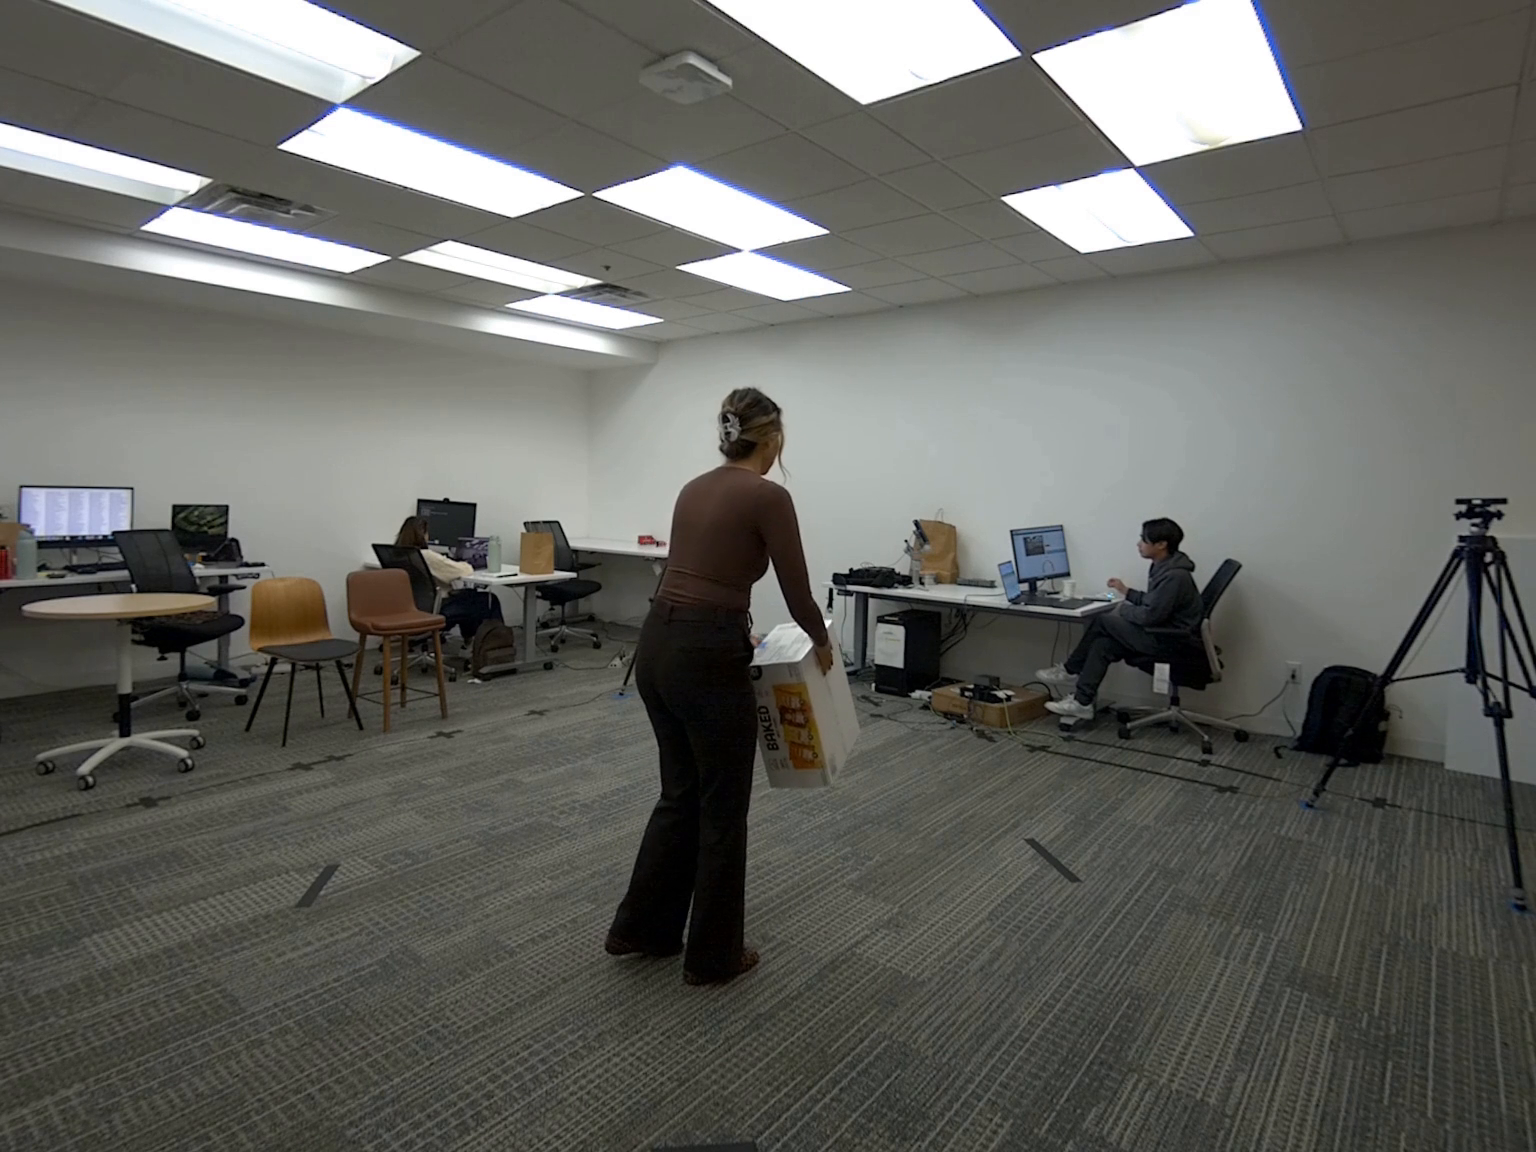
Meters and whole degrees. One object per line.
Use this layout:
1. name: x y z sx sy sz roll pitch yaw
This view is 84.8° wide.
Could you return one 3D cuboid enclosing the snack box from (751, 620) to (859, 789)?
1. snack box: 0.099 0.398 2.665 0.210 0.400 0.338 -9 13 24
